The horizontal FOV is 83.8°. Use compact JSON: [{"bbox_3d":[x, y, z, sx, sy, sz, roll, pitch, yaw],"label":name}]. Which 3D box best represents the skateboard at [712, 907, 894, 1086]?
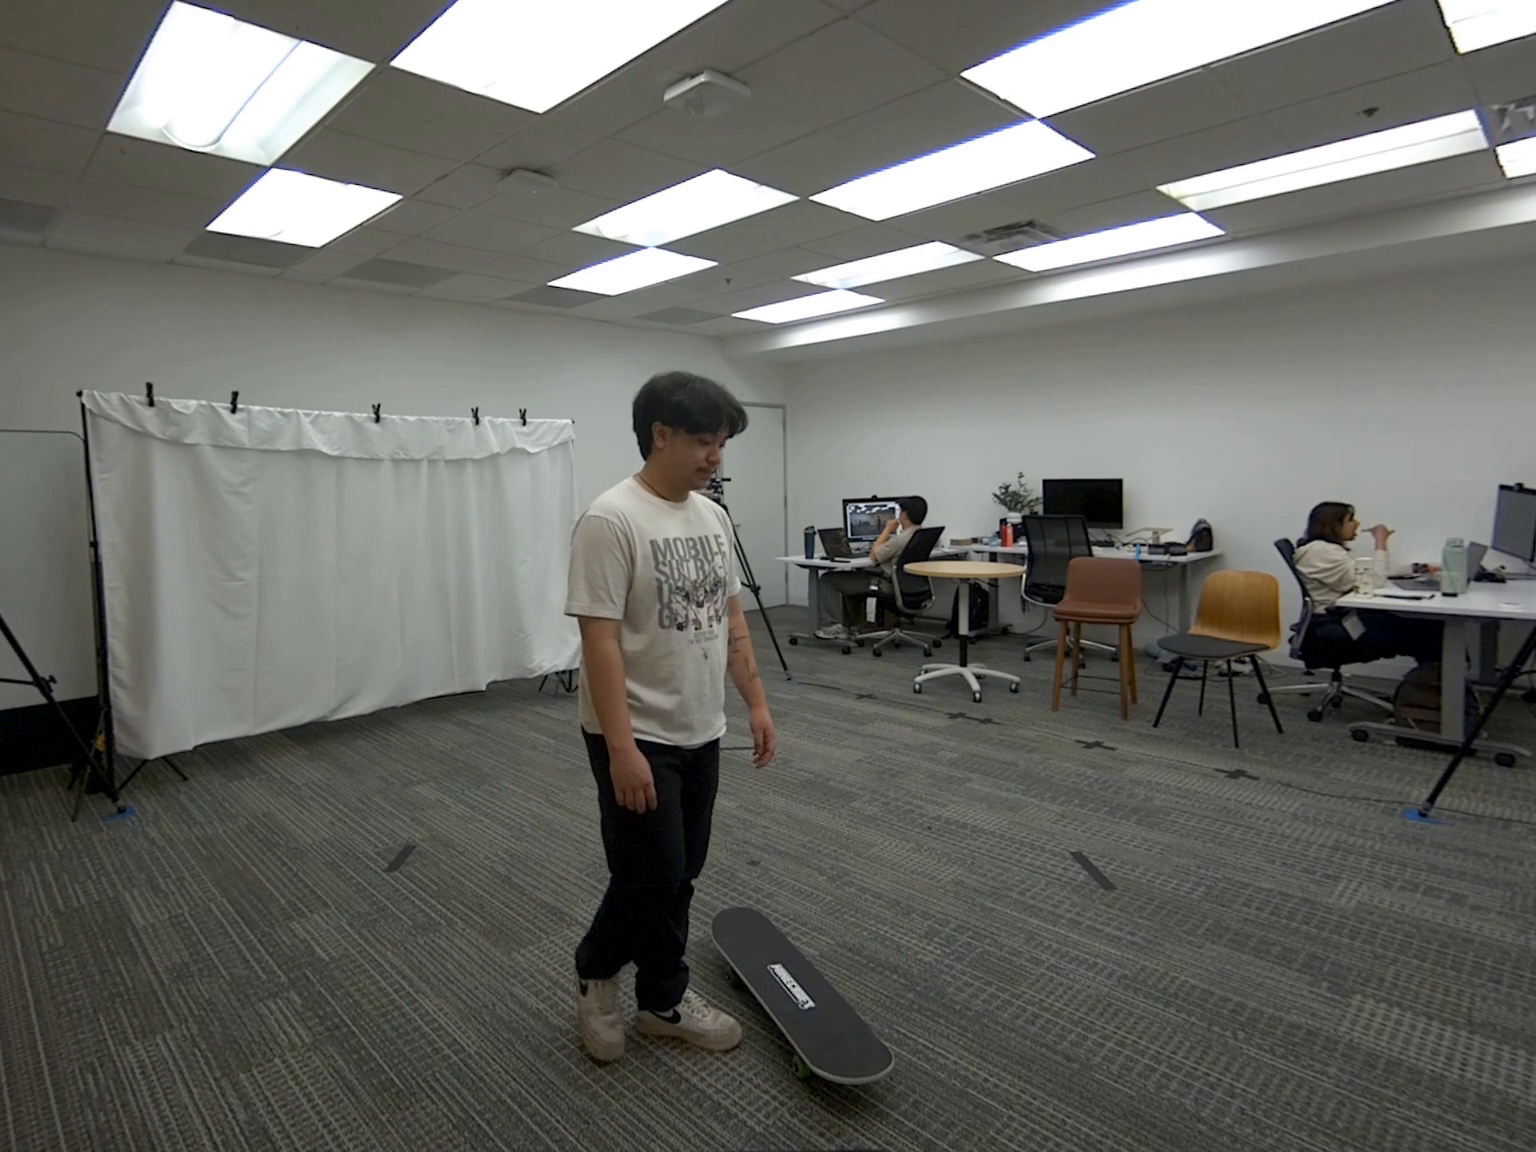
[{"bbox_3d":[0.065,1.089,2.212,0.189,0.110,0.805,-4,7,-25],"label":"skateboard"}]
